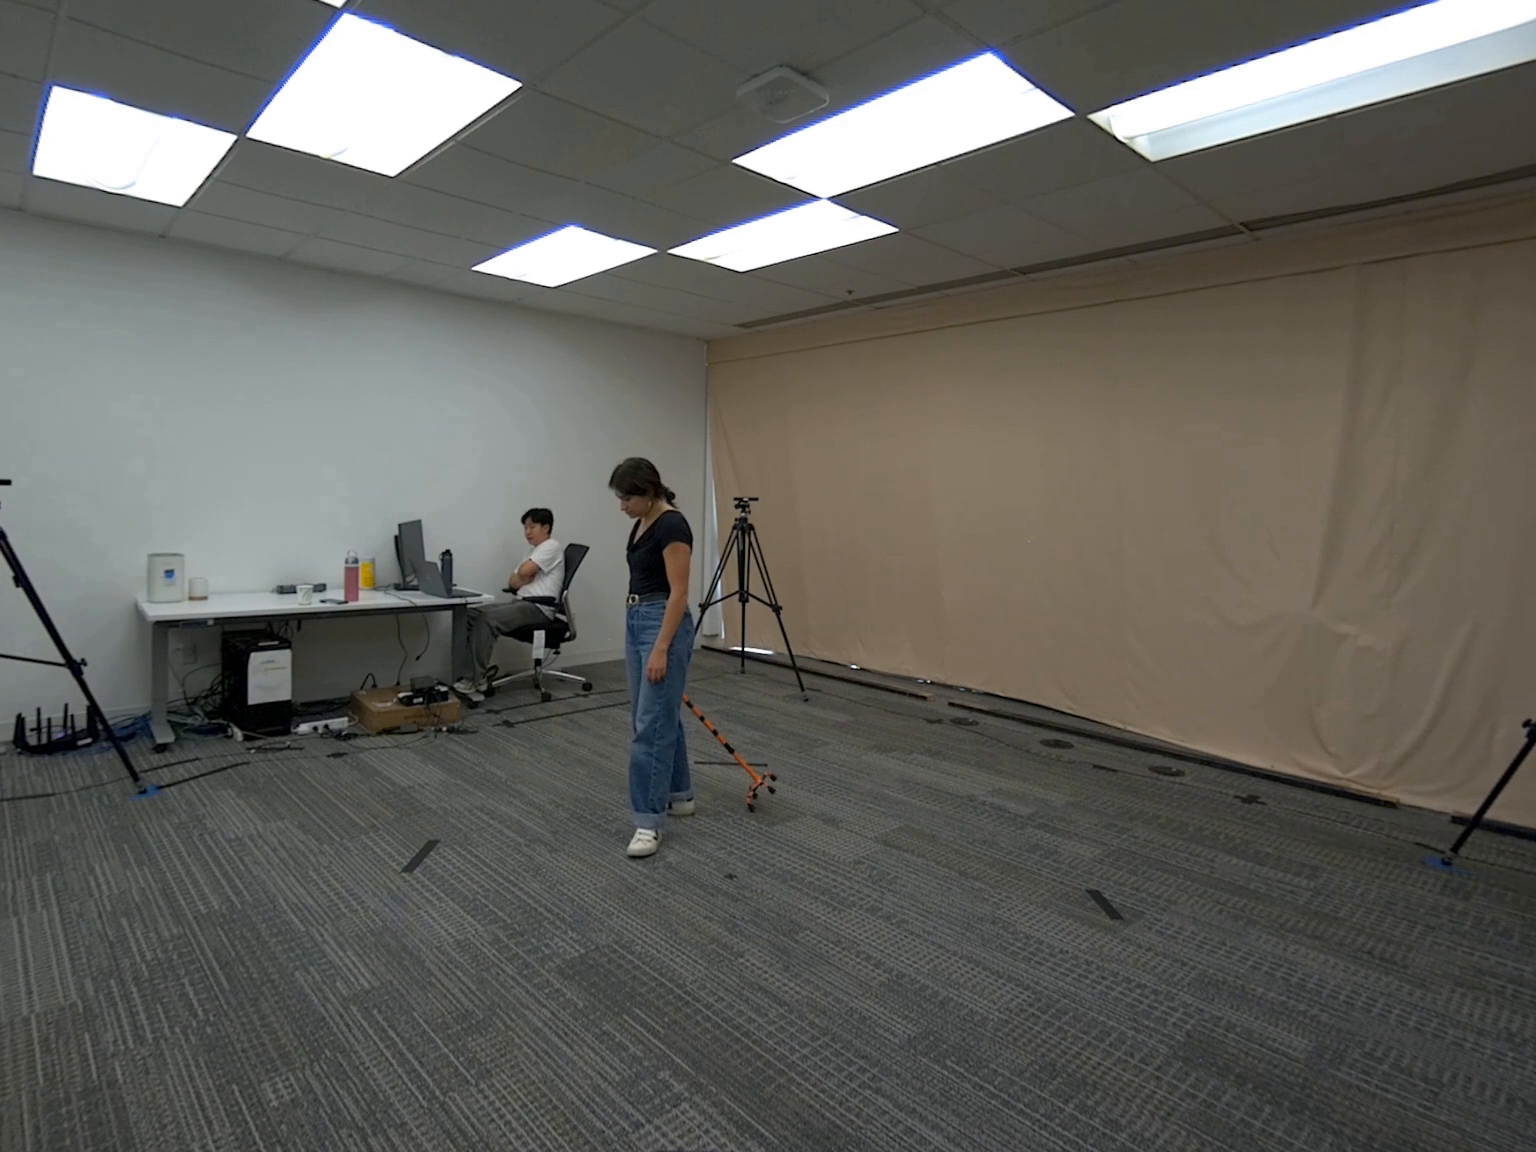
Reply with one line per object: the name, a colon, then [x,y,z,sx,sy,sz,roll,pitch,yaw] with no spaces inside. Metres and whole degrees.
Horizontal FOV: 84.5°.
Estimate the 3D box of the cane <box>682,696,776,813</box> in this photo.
cane: [-0.324,0.665,3.862,0.152,0.911,0.205,-42,-3,6]
